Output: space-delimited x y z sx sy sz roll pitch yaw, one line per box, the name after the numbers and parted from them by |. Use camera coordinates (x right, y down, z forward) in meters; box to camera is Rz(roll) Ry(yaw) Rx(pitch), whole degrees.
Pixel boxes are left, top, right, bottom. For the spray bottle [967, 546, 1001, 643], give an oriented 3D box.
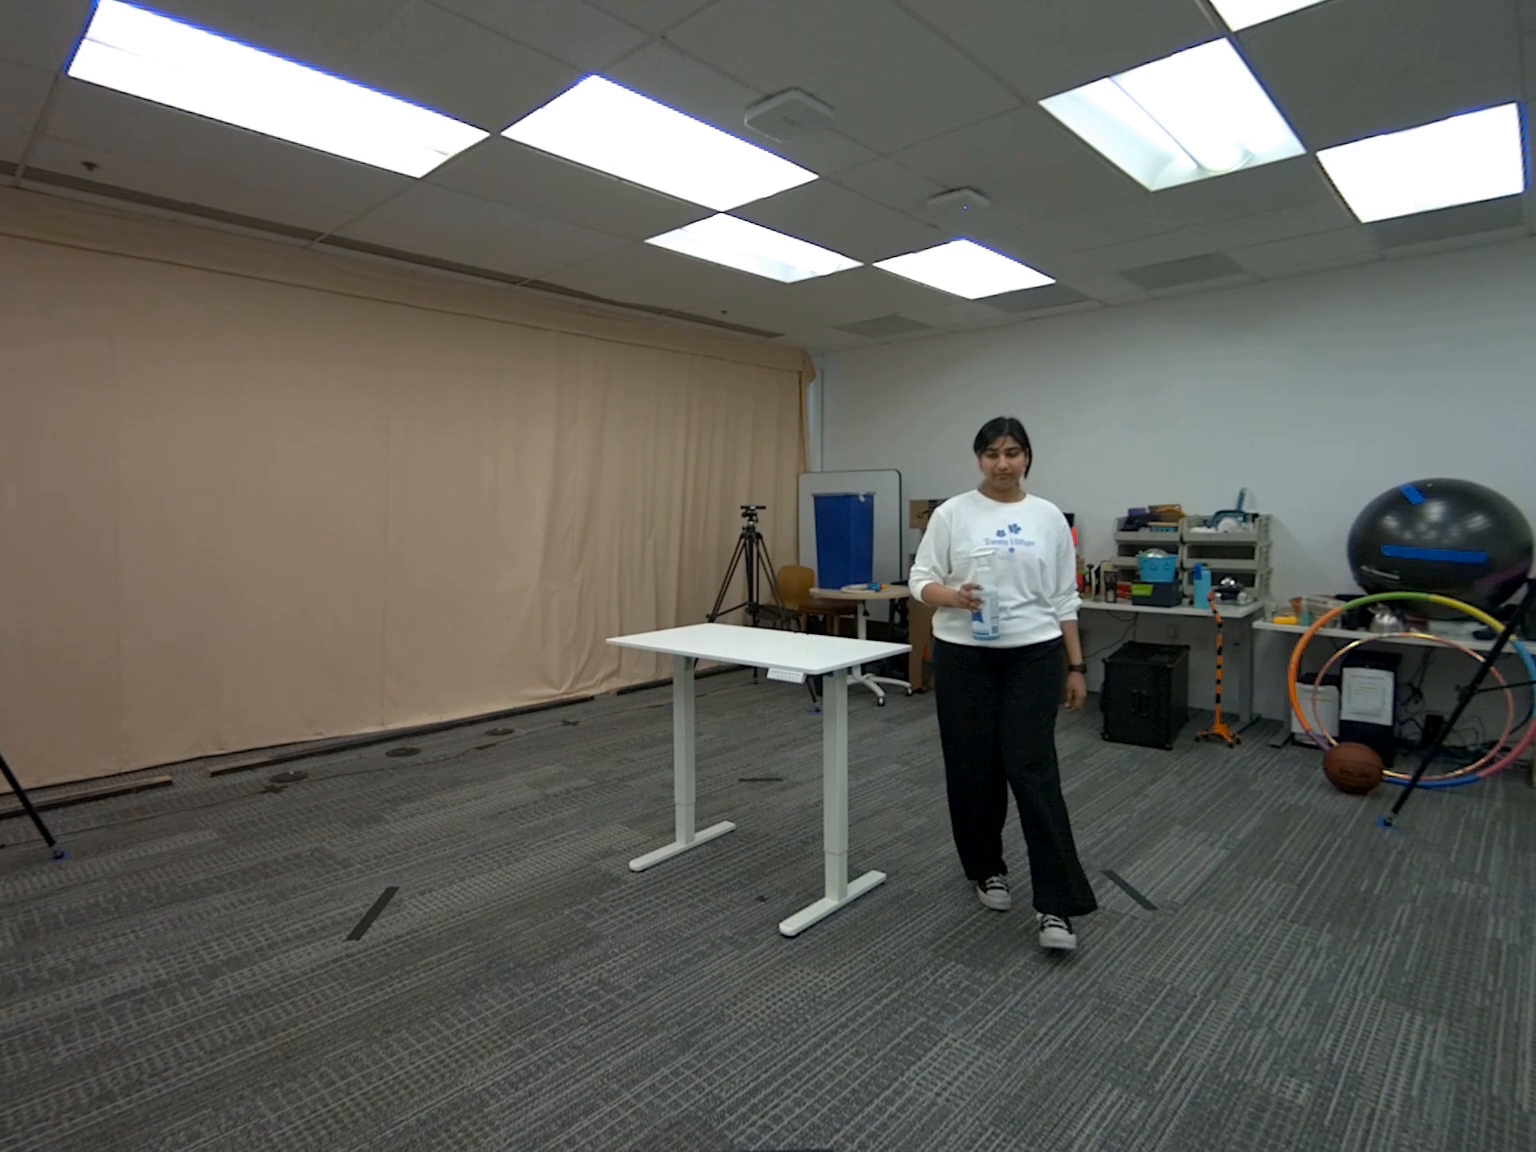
0.696 0.056 2.686 0.093 0.297 0.084 0 3 37 | spray bottle
